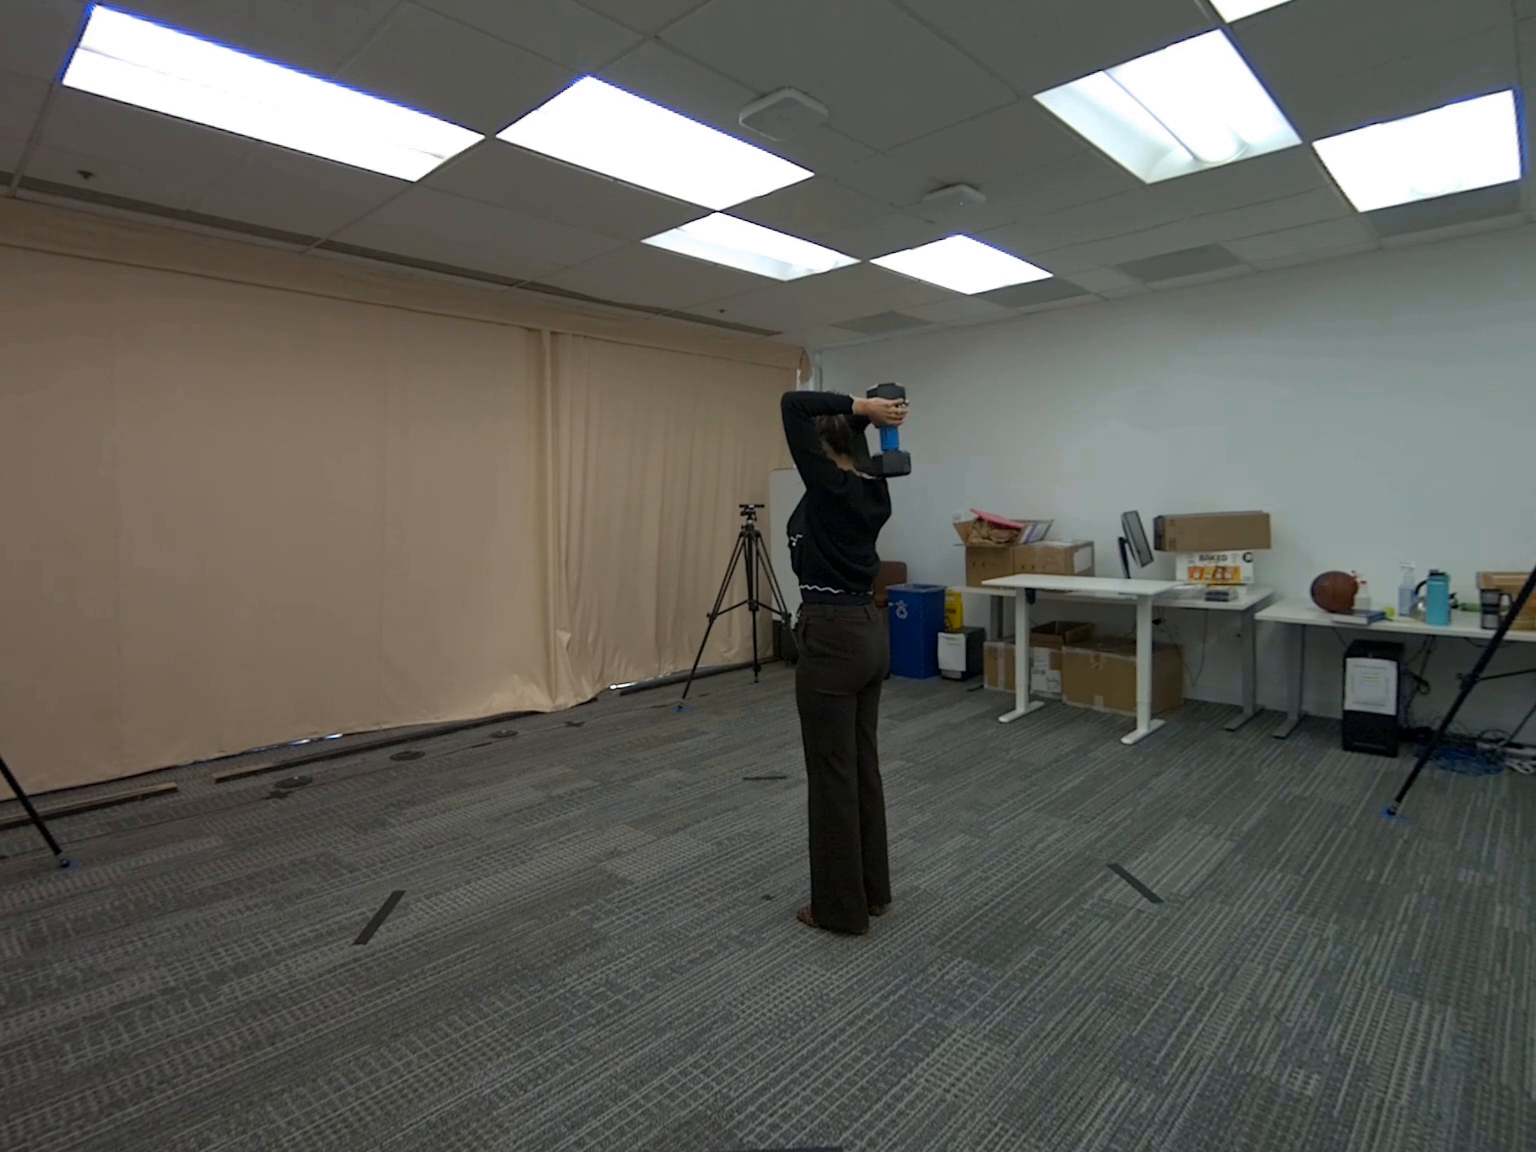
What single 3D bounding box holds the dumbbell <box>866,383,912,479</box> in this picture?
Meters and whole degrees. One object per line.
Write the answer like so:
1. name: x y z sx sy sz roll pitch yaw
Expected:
1. dumbbell: 0.375 -0.459 2.686 0.124 0.294 0.108 -1 -1 7
